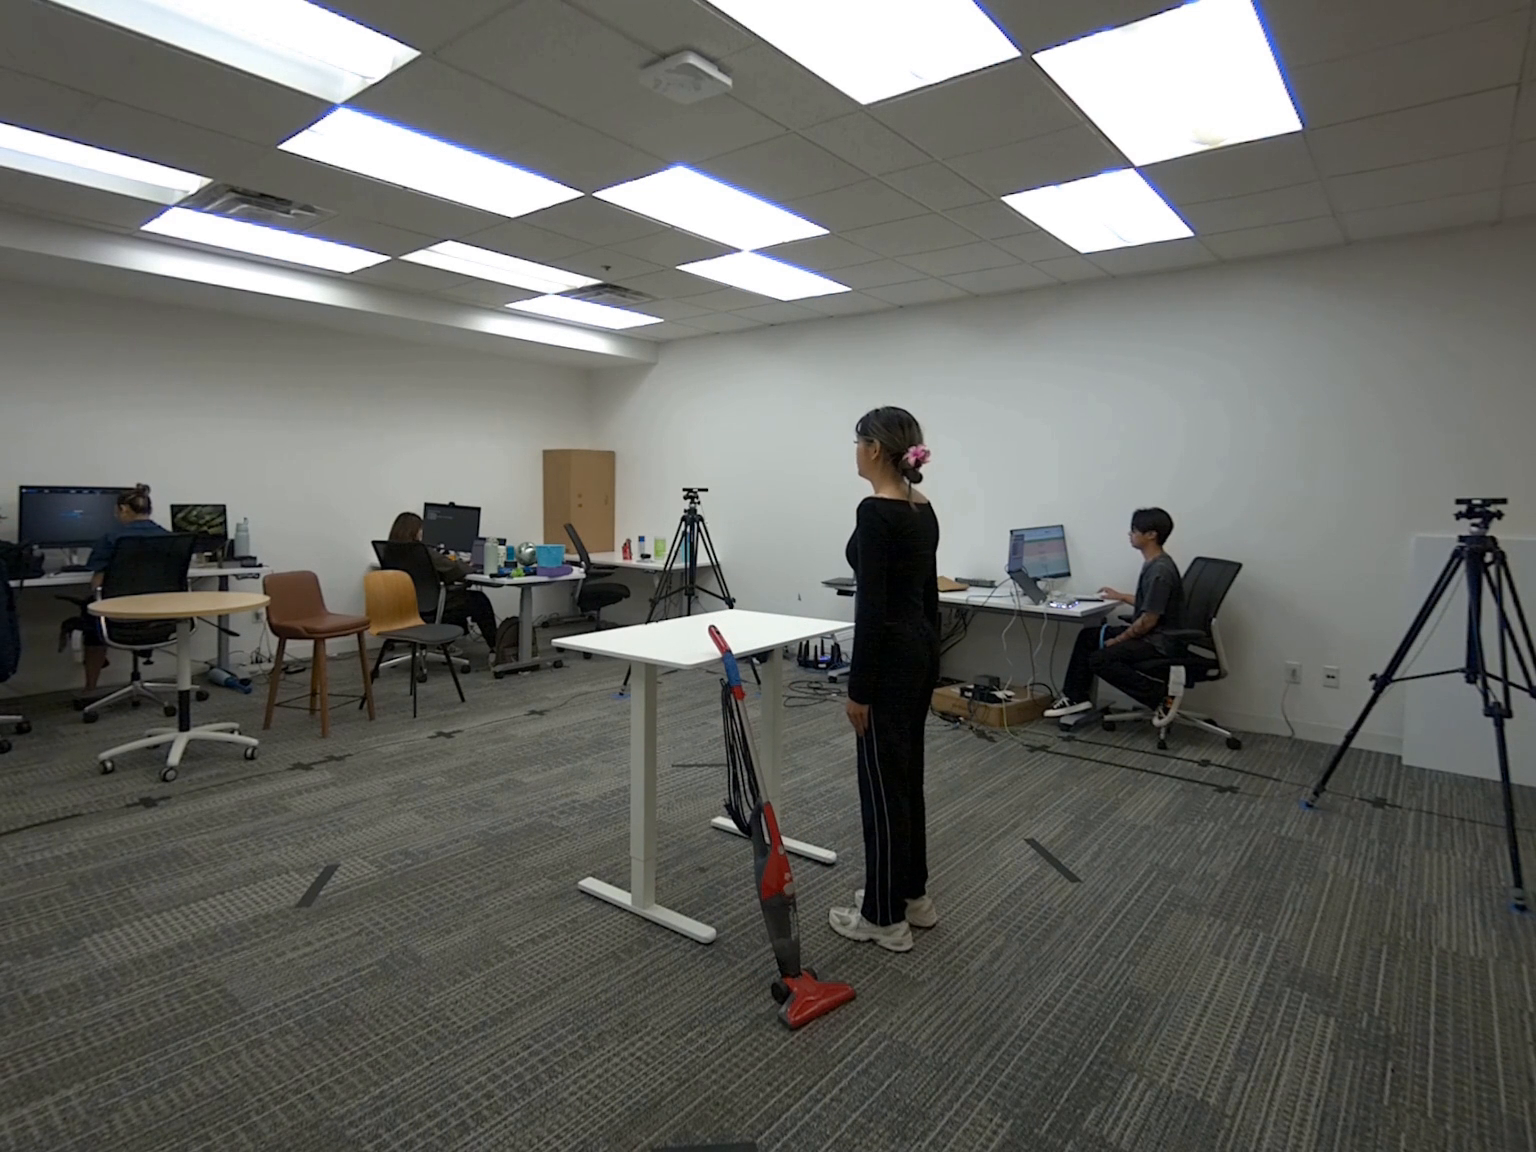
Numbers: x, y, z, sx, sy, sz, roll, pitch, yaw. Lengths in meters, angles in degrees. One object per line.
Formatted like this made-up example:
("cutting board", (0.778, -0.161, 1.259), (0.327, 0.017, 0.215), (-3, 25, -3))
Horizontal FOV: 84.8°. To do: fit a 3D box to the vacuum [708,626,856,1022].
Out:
("vacuum", (-0.047, 0.659, 2.456), (0.245, 1.070, 0.145), (-3, -21, -41))
